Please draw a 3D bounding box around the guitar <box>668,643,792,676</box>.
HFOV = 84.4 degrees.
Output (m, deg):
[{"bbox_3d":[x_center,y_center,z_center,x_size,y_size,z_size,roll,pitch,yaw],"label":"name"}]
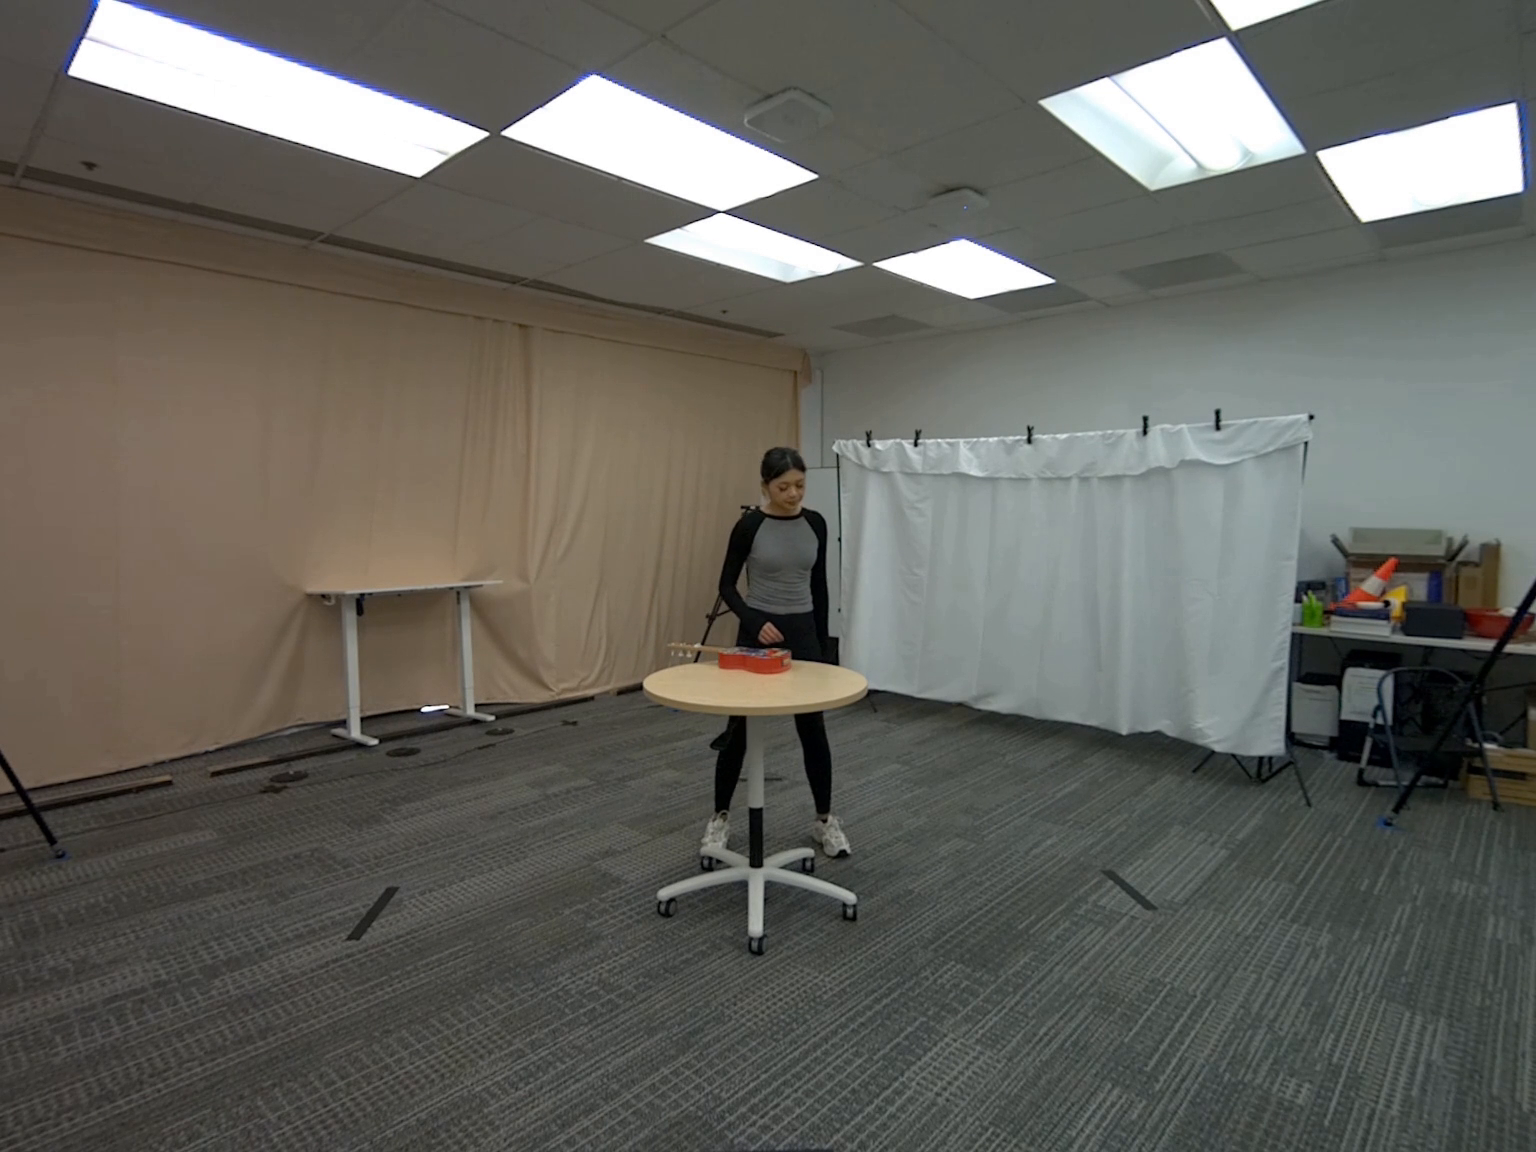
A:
[{"bbox_3d":[-0.145,0.299,3.186,0.513,0.070,0.188,3,8,34],"label":"guitar"}]
